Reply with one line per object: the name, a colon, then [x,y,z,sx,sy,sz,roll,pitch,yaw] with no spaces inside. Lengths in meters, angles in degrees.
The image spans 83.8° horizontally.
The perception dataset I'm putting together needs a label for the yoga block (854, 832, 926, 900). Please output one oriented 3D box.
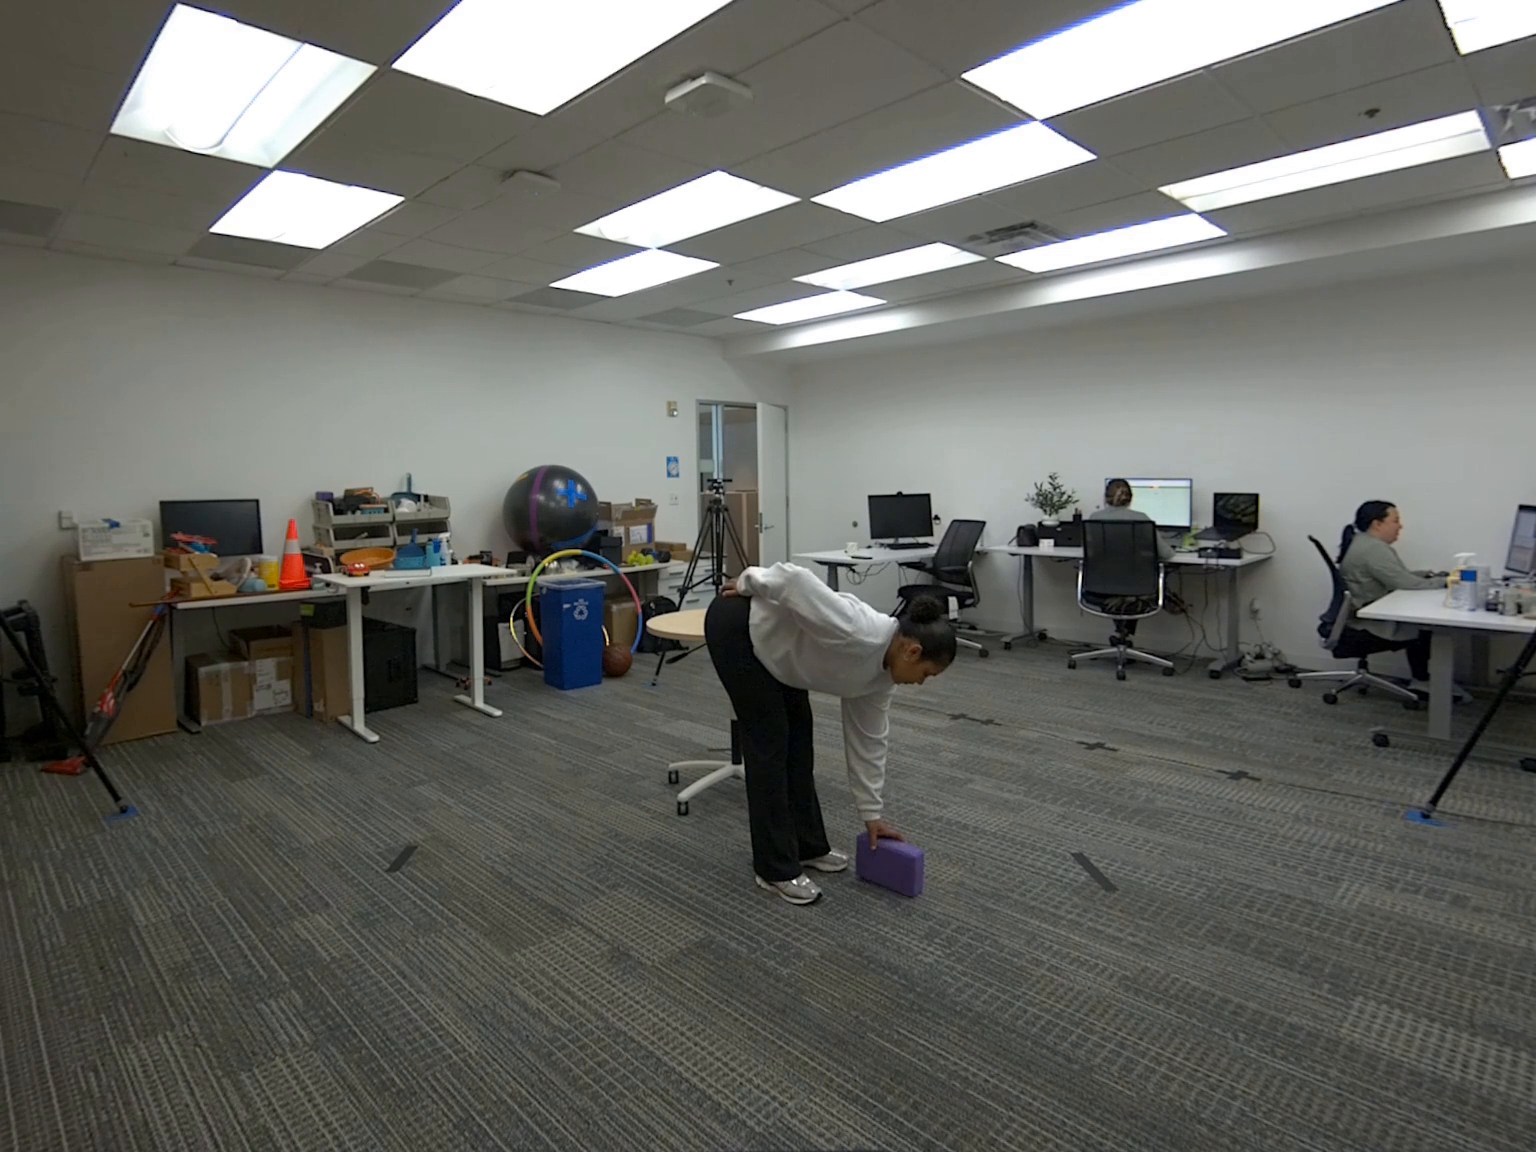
yoga block: [0.417,0.965,2.911,0.237,0.148,0.074,9,10,38]
